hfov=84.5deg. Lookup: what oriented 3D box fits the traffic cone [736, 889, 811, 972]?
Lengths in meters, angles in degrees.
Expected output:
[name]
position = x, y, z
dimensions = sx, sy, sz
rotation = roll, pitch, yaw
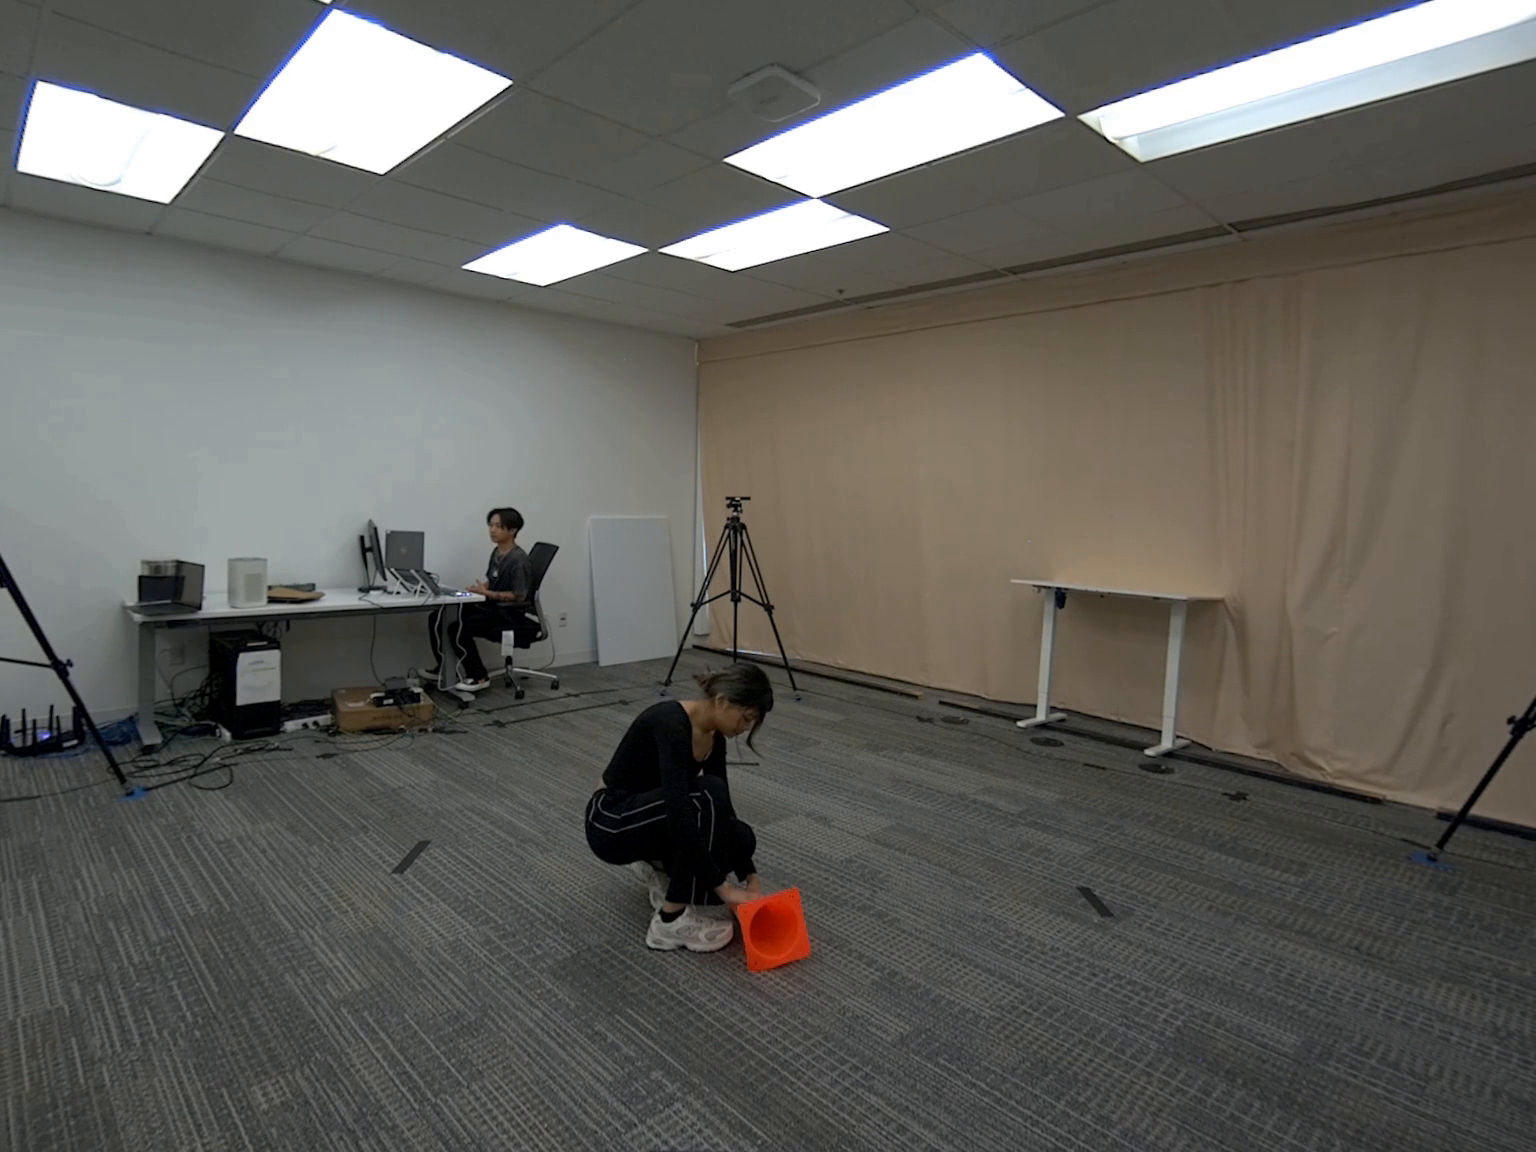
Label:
[traffic cone]
position = -0.051, 1.084, 2.684
dimensions = 0.200, 0.206, 0.386
rotation = -7, -6, -21
